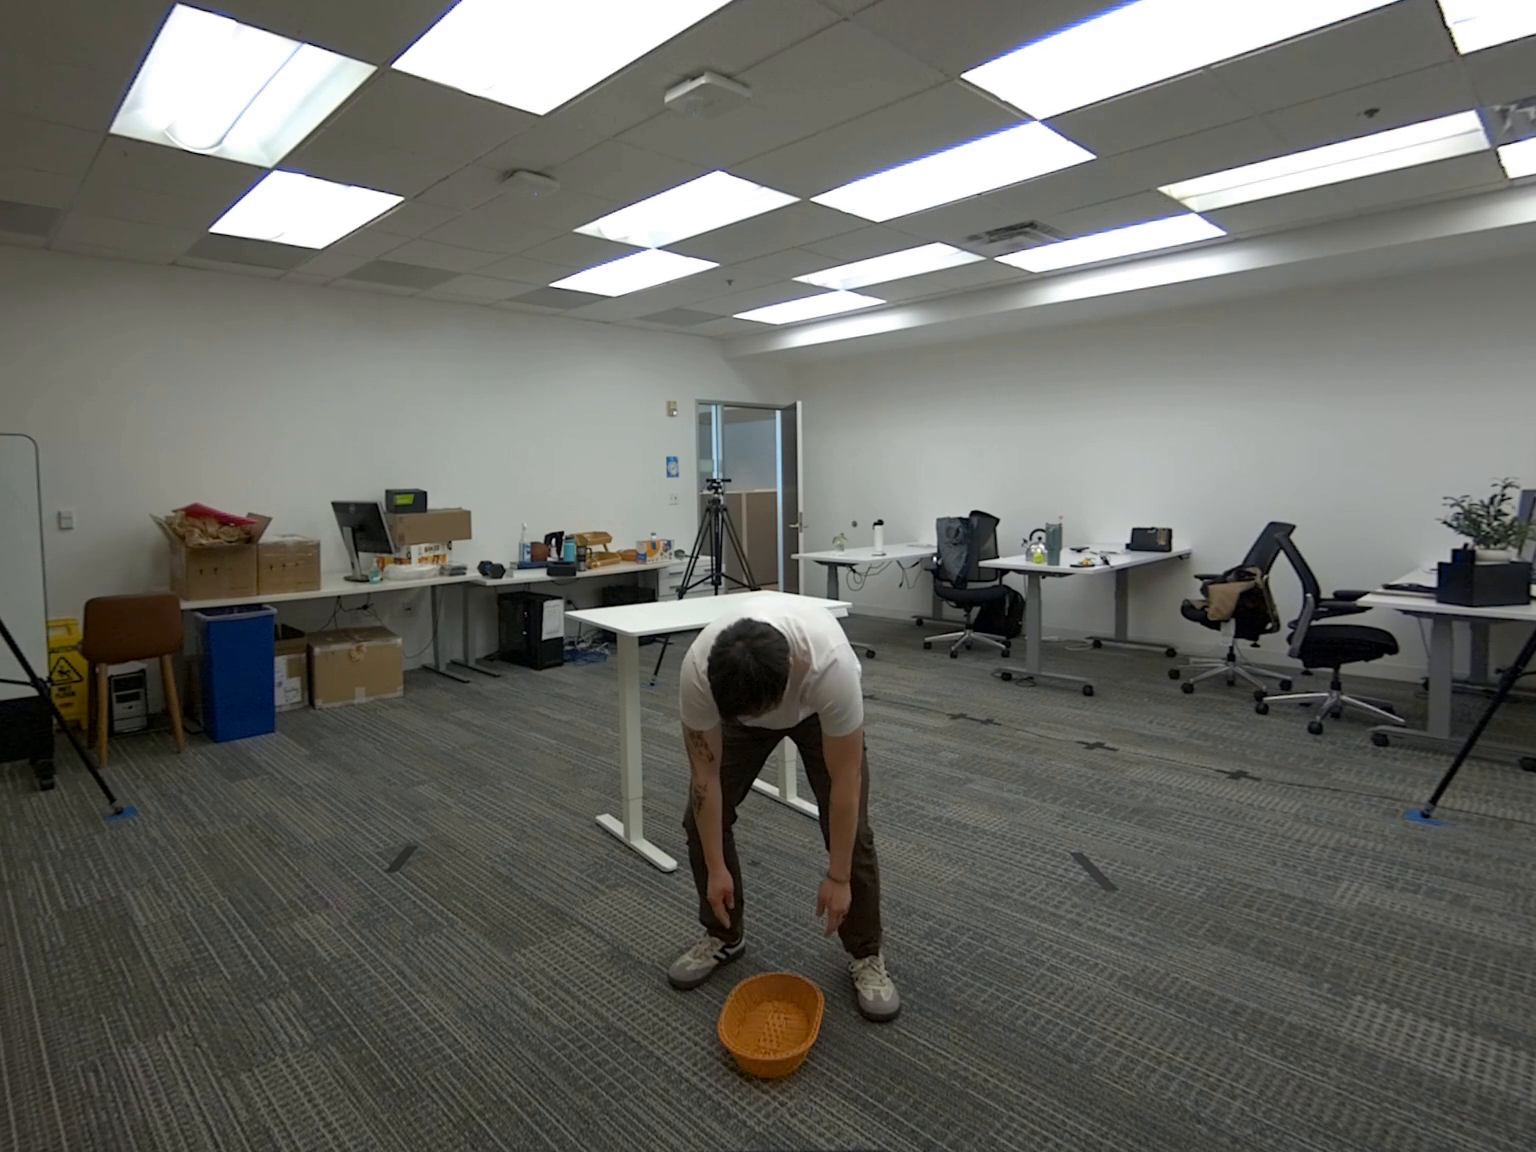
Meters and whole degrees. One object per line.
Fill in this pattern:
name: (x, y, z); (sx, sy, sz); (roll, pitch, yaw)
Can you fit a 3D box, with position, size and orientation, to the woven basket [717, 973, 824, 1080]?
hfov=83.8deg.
woven basket: (0.015, 1.122, 2.130); (0.256, 0.073, 0.347); (0, 7, 14)
